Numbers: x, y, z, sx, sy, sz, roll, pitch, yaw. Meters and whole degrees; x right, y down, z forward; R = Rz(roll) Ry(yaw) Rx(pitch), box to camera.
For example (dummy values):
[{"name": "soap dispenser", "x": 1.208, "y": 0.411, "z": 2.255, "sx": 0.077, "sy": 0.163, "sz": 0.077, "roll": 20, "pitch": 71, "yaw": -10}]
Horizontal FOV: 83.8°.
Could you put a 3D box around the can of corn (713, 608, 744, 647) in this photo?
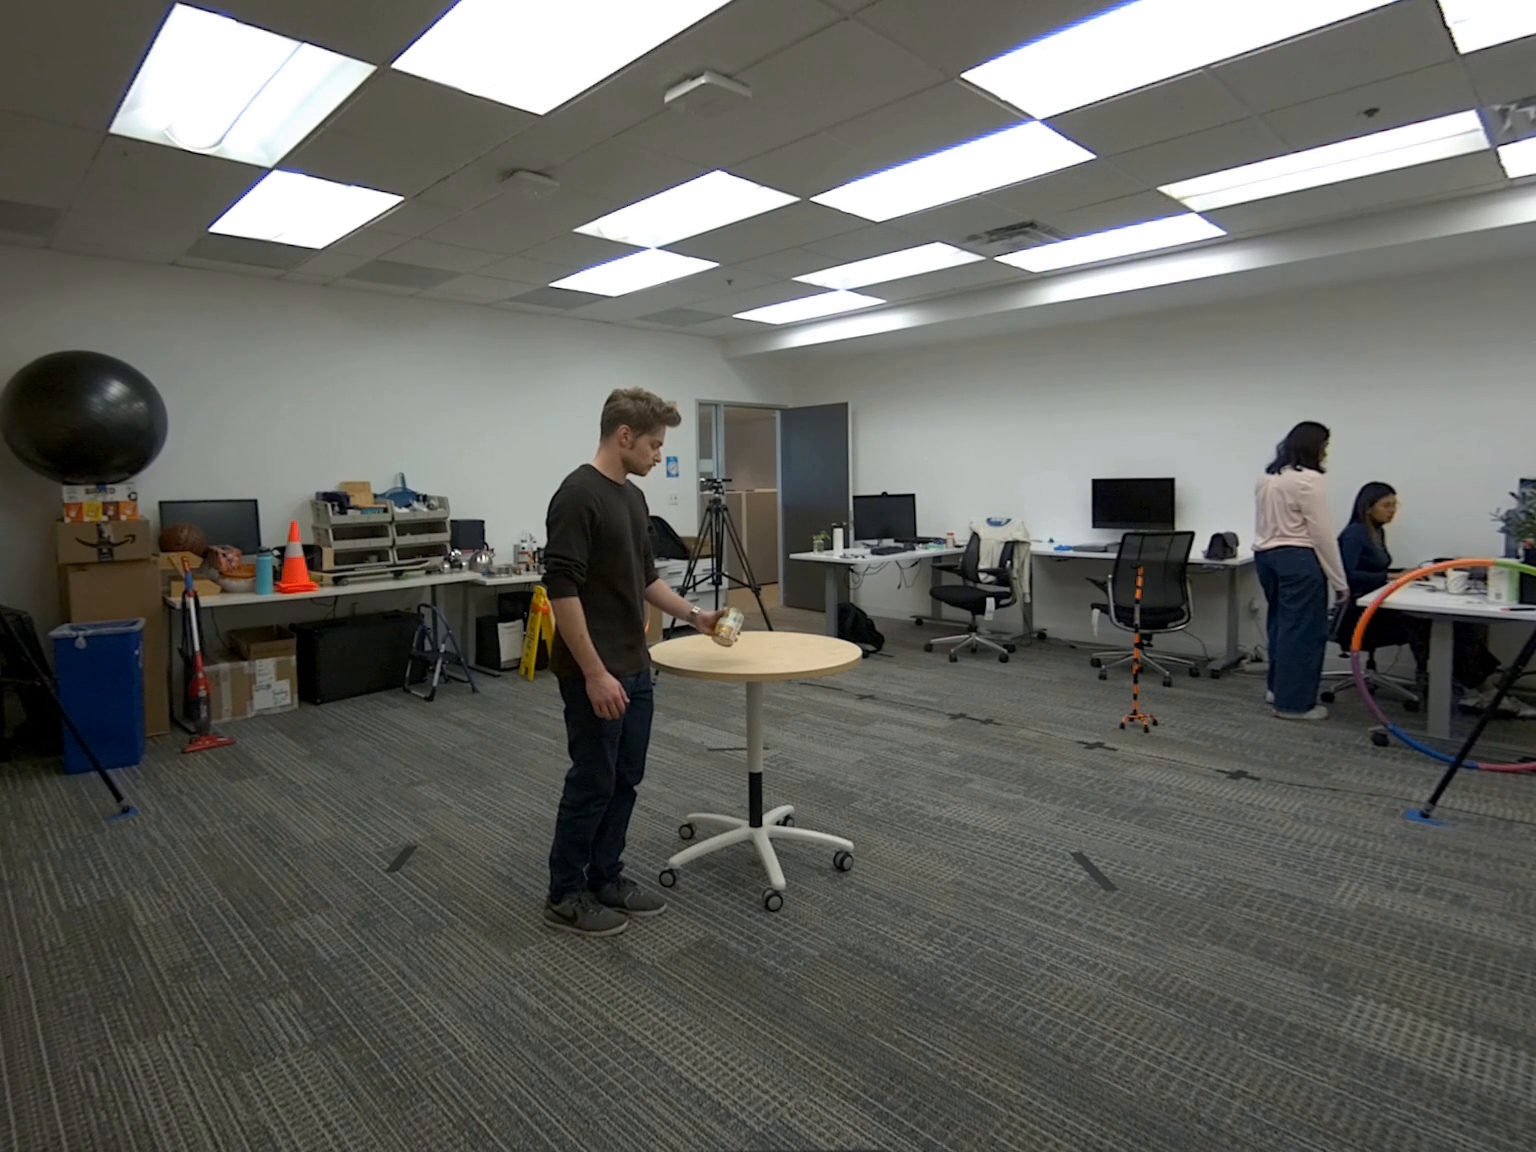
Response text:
[{"name": "can of corn", "x": -0.135, "y": 0.167, "z": 2.801, "sx": 0.075, "sy": 0.112, "sz": 0.073, "roll": 19, "pitch": -24, "yaw": 7}]
